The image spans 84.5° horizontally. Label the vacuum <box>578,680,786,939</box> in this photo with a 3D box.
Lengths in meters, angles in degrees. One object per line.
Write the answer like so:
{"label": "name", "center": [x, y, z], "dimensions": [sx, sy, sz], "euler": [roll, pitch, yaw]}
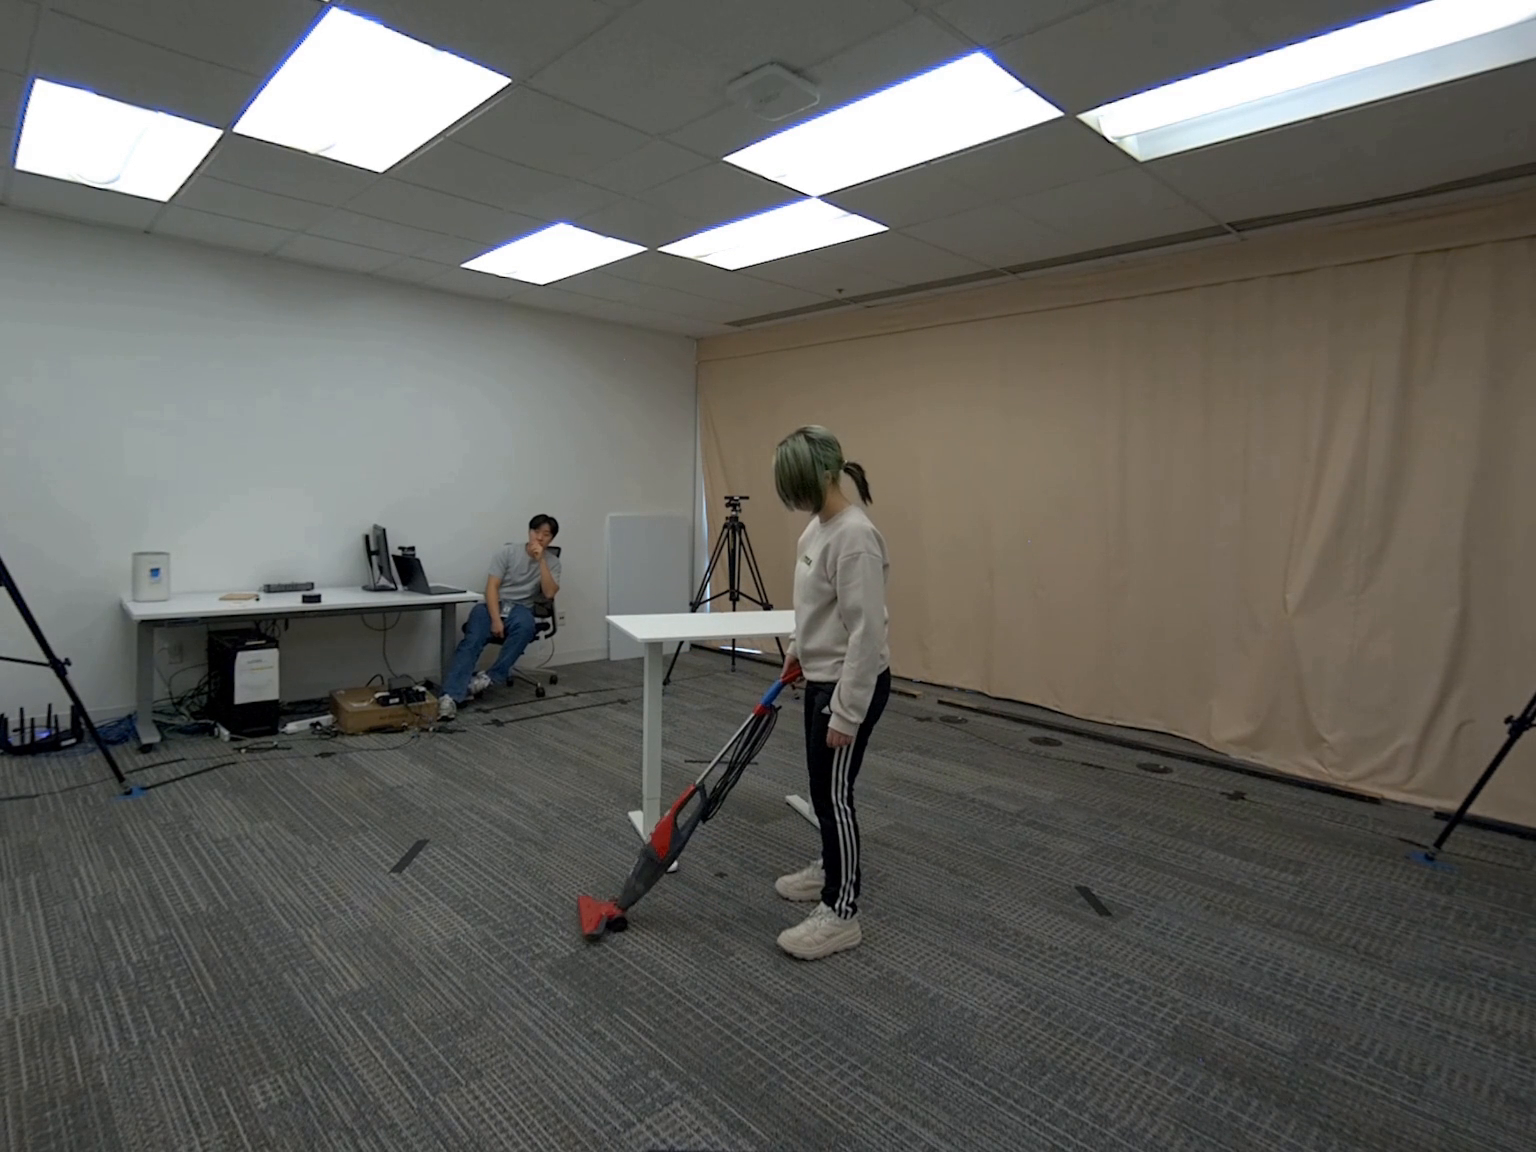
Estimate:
{"label": "vacuum", "center": [-0.221, 0.724, 2.792], "dimensions": [0.141, 1.050, 0.257], "euler": [43, -8, -18]}
